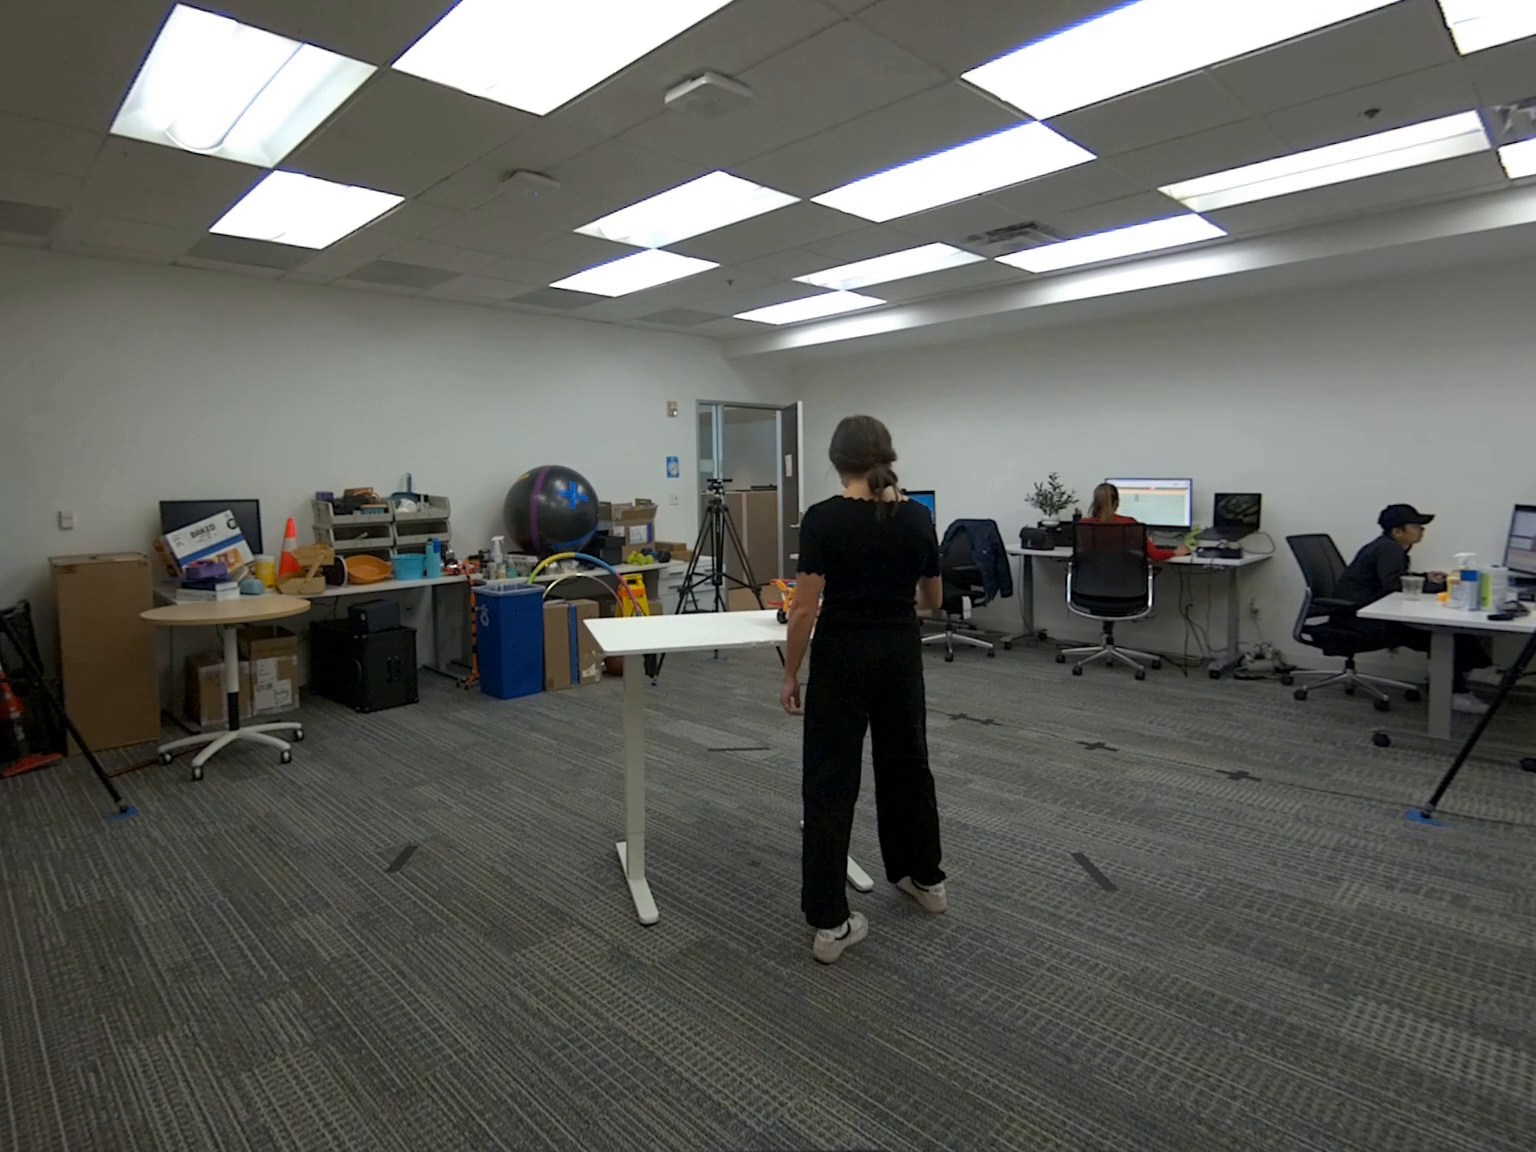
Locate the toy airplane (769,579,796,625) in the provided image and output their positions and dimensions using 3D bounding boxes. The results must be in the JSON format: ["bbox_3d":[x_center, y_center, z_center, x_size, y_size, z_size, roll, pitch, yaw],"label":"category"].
[{"bbox_3d":[0.125,0.087,3.086,0.253,0.156,0.258,1,6,7],"label":"toy airplane"}]
